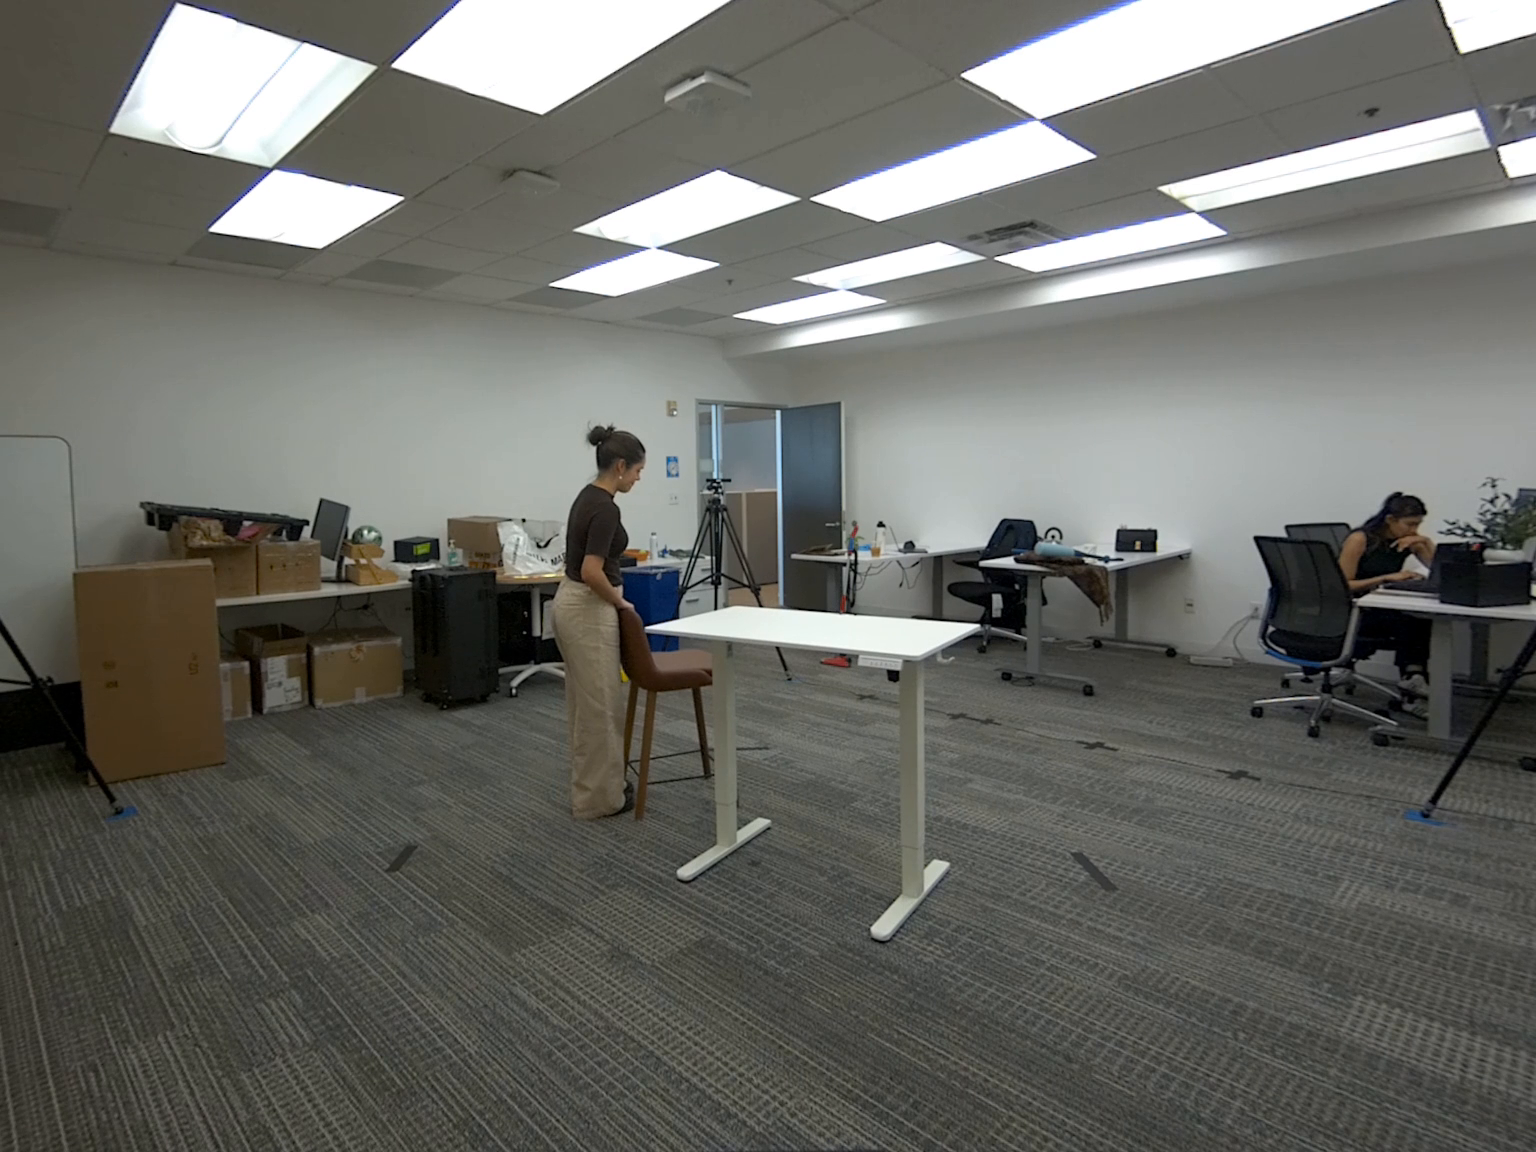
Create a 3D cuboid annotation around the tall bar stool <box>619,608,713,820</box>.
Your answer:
[{"bbox_3d":[-0.419,0.538,3.734,0.460,0.886,0.466,-4,5,-20],"label":"tall bar stool"}]
